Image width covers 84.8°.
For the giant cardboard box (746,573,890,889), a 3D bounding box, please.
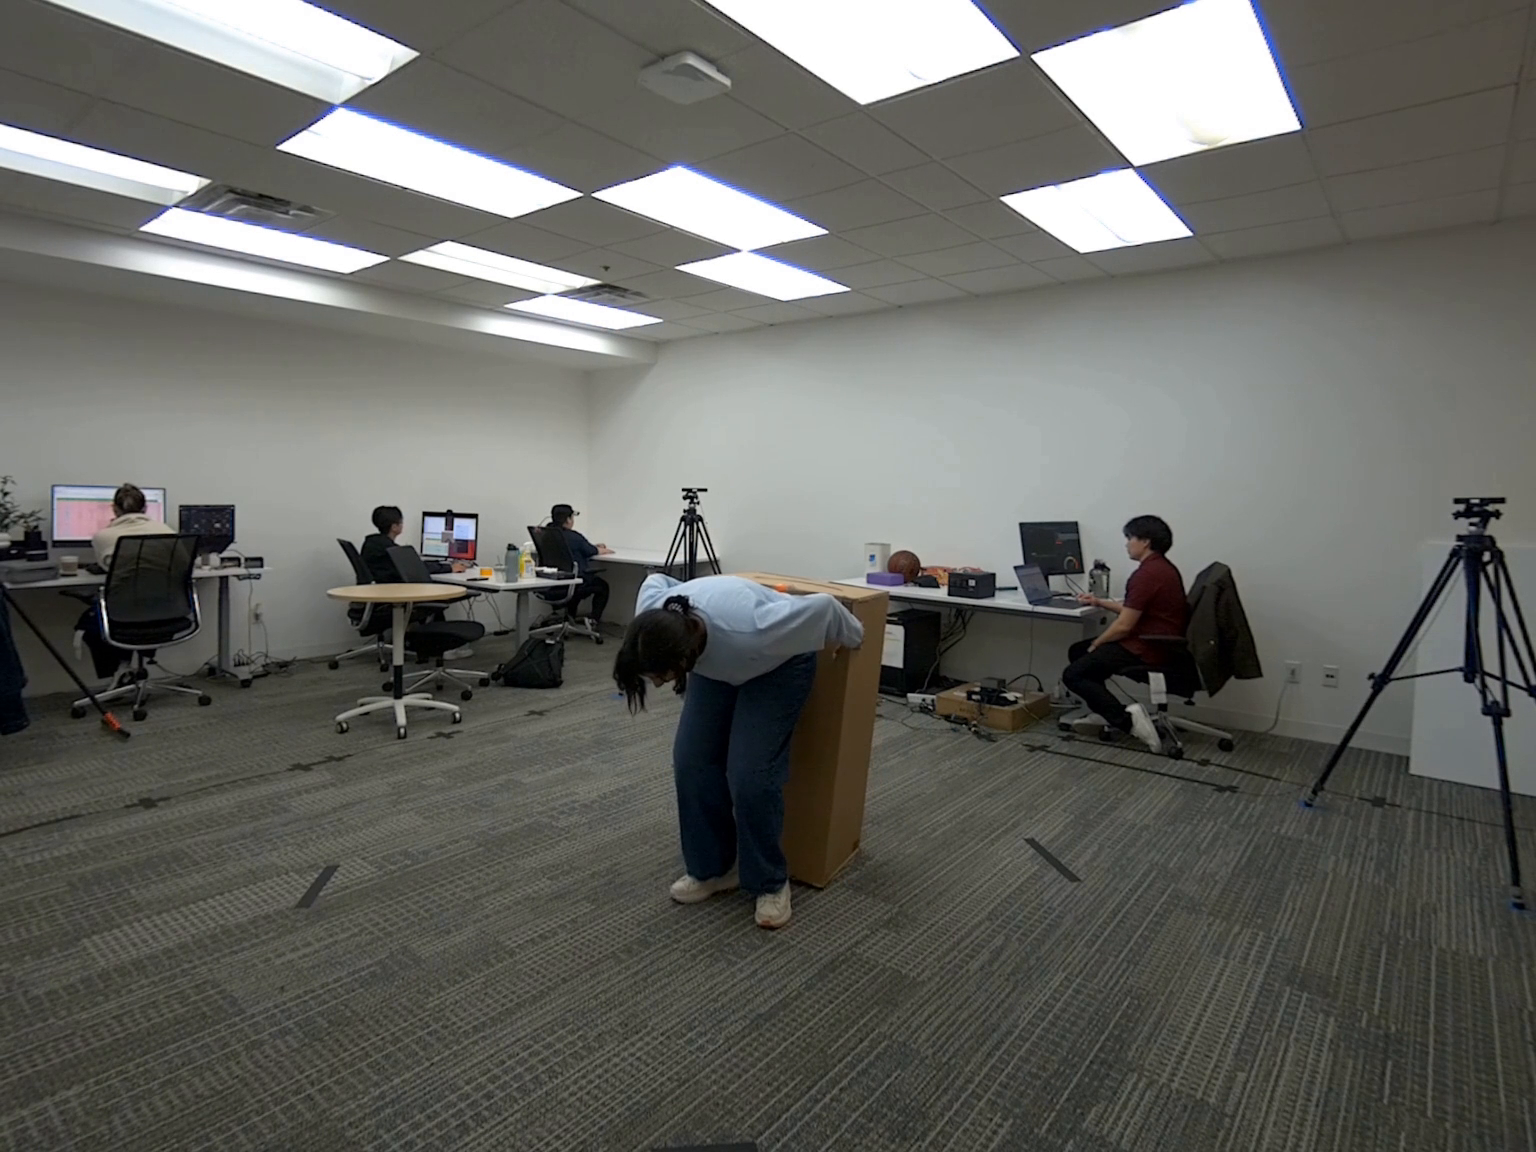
[{"bbox_3d":[0.069,0.535,3.246,0.594,1.023,0.415,8,3,26],"label":"giant cardboard box"}]
